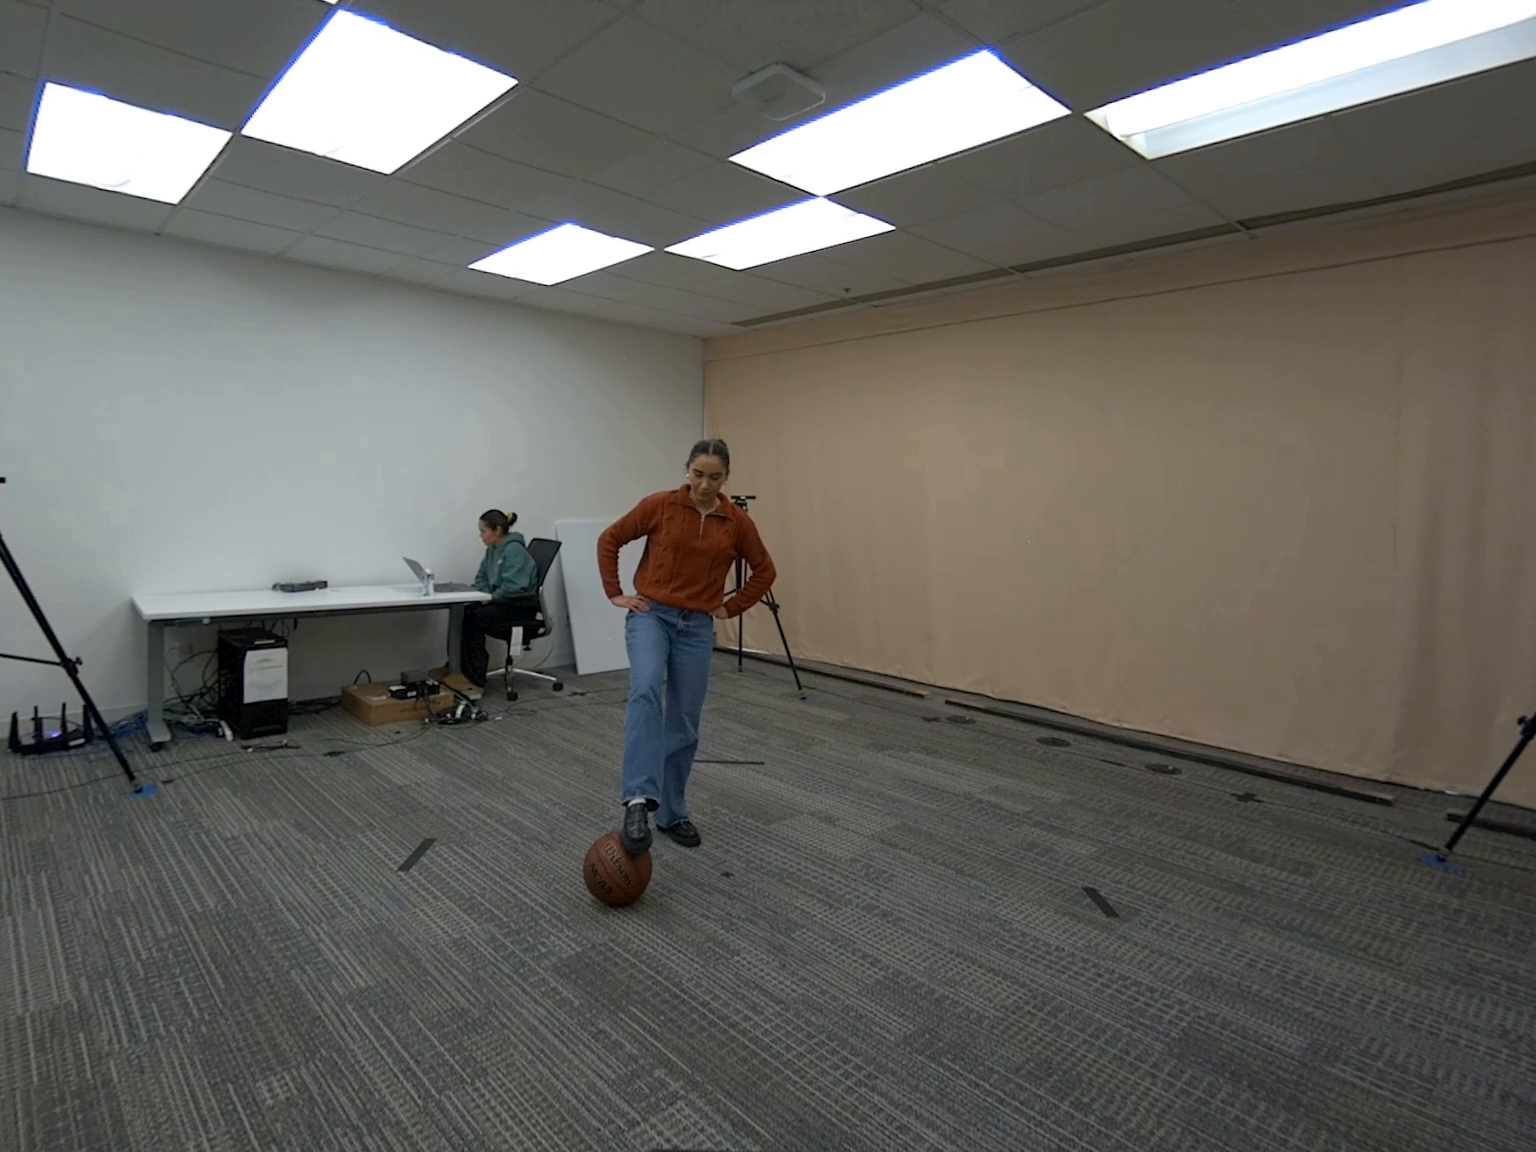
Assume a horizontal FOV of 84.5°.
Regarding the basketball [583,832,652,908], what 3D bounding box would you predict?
[{"bbox_3d":[-0.520,1.001,2.882,0.236,0.235,0.237,1,4,-1],"label":"basketball"}]
